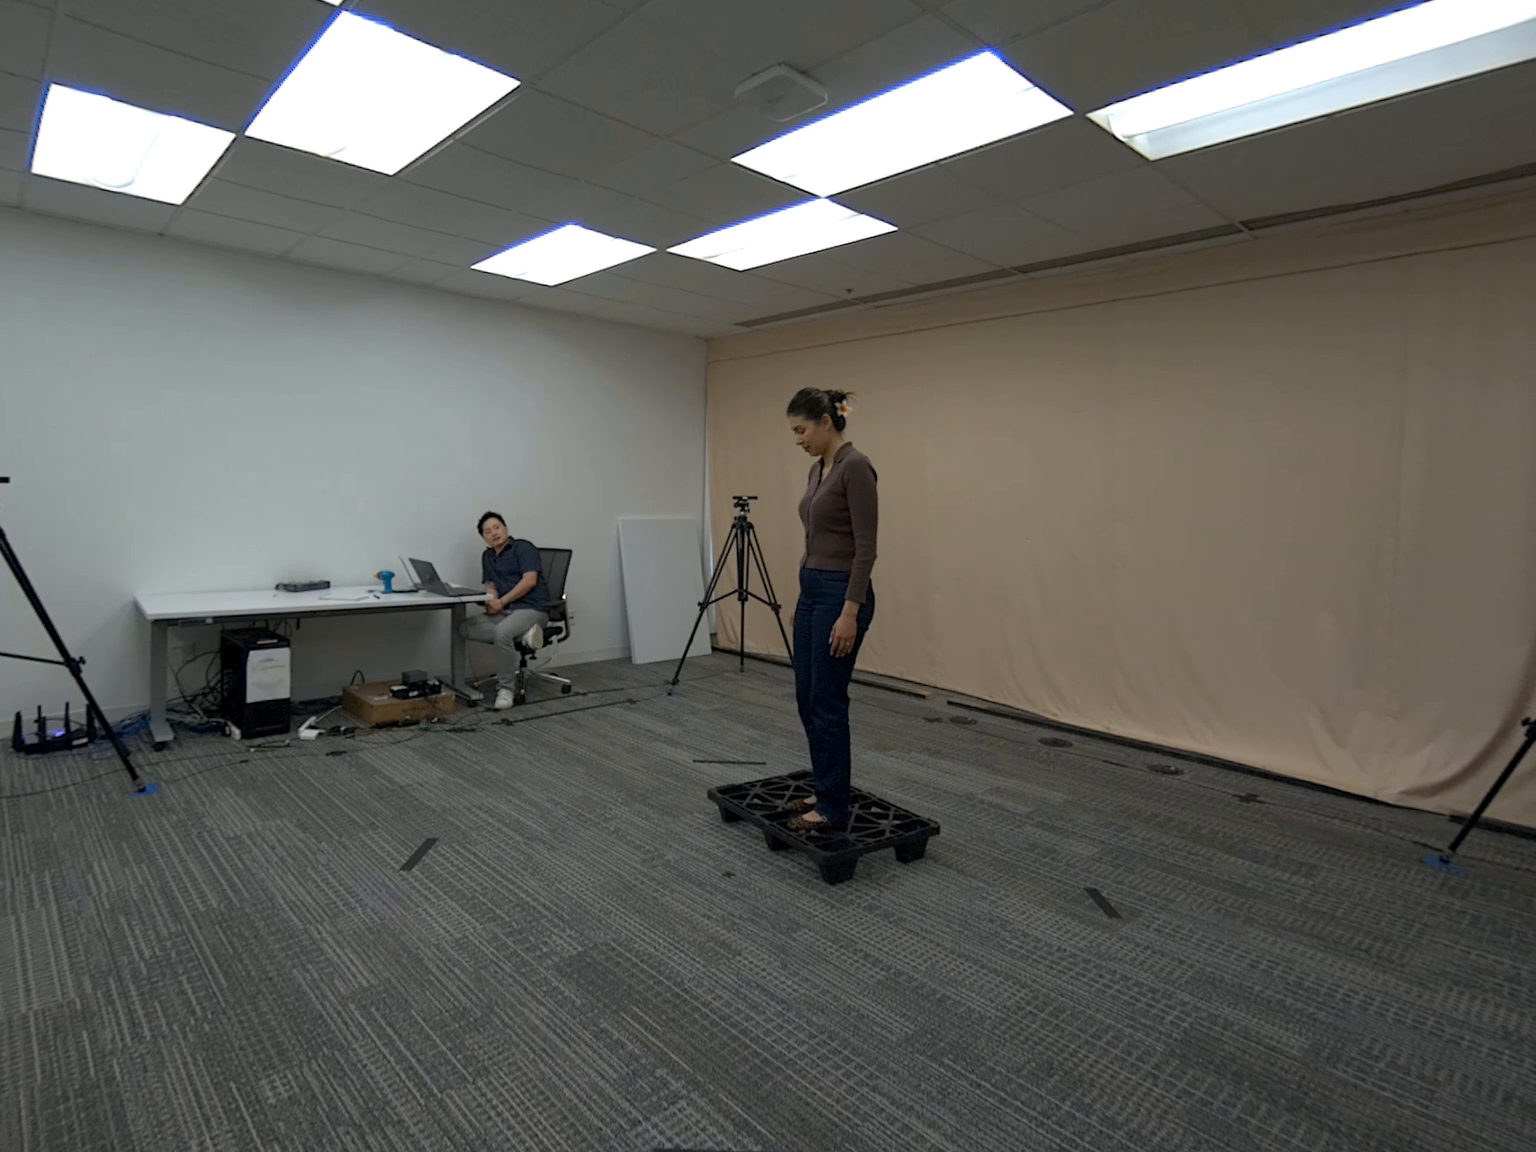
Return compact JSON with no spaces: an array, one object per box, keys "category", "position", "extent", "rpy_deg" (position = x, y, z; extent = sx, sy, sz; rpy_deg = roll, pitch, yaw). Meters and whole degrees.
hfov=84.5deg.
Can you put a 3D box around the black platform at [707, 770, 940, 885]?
[{"category":"black platform","position":[0.200,1.013,3.459],"extent":[0.592,0.143,0.825],"rpy_deg":[-3,6,-35]}]
